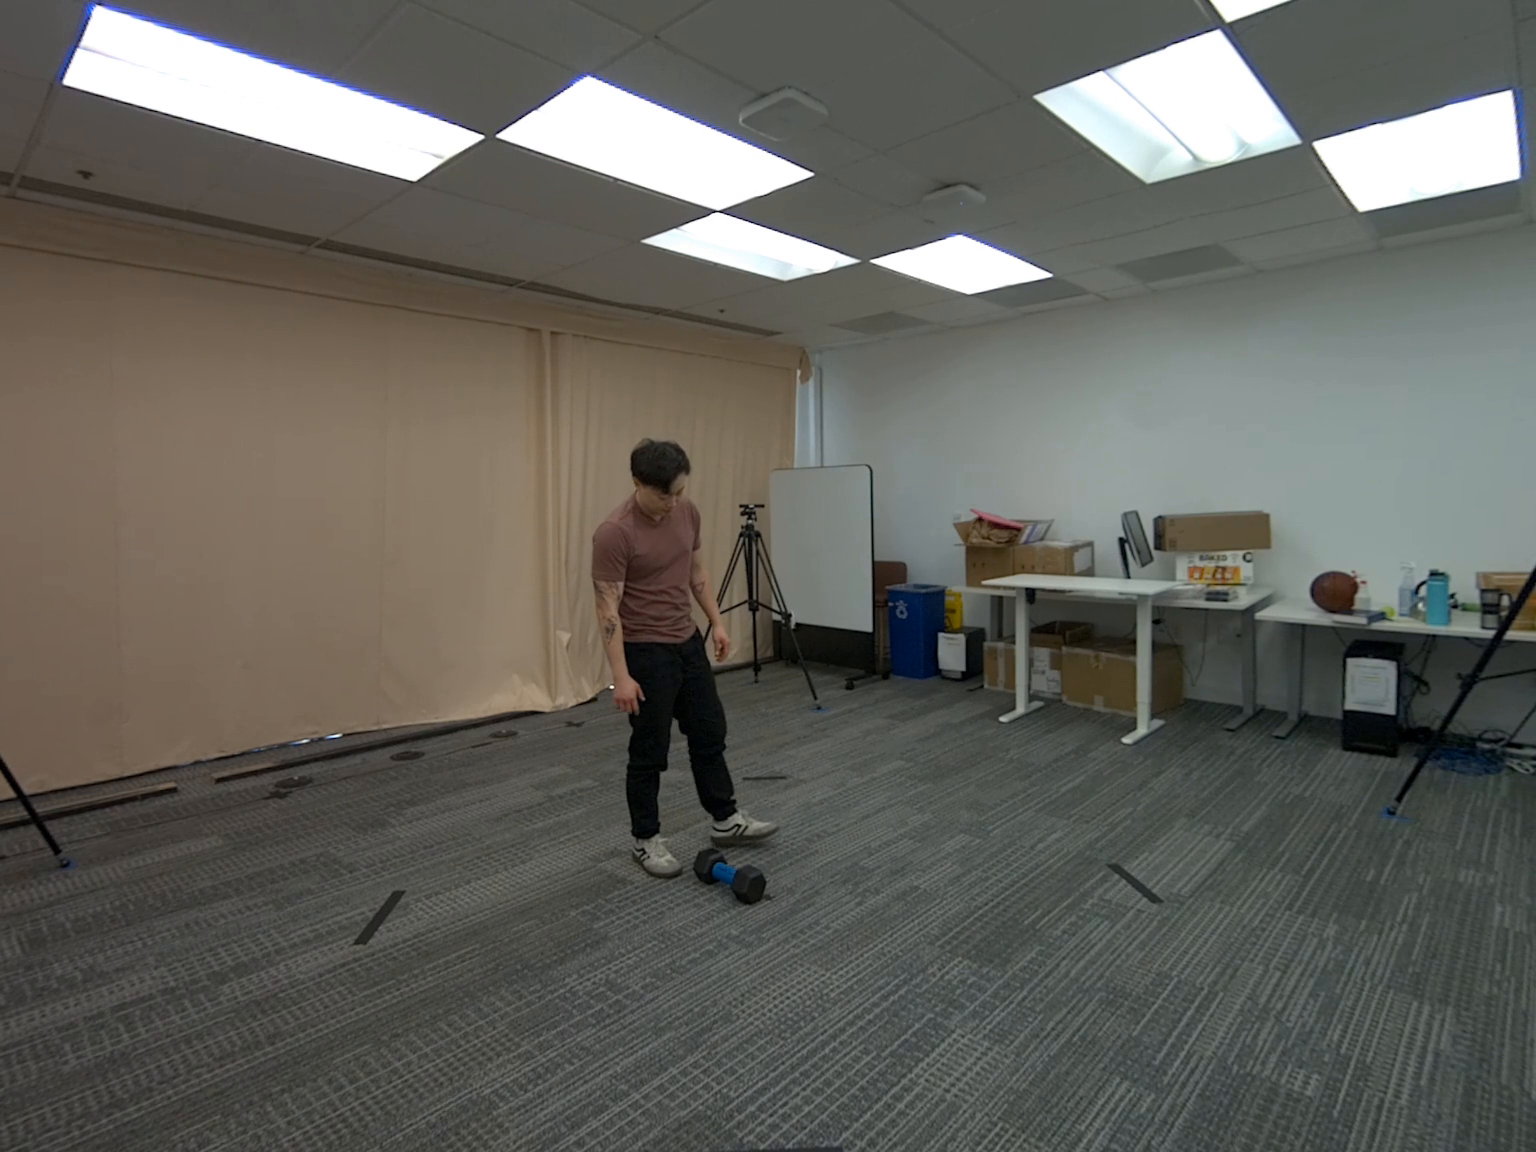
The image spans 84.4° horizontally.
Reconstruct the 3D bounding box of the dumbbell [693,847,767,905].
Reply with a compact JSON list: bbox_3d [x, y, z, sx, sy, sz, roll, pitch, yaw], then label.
[{"bbox_3d":[-0.137,1.082,3.044,0.303,0.120,0.107,4,36,47],"label":"dumbbell"}]
